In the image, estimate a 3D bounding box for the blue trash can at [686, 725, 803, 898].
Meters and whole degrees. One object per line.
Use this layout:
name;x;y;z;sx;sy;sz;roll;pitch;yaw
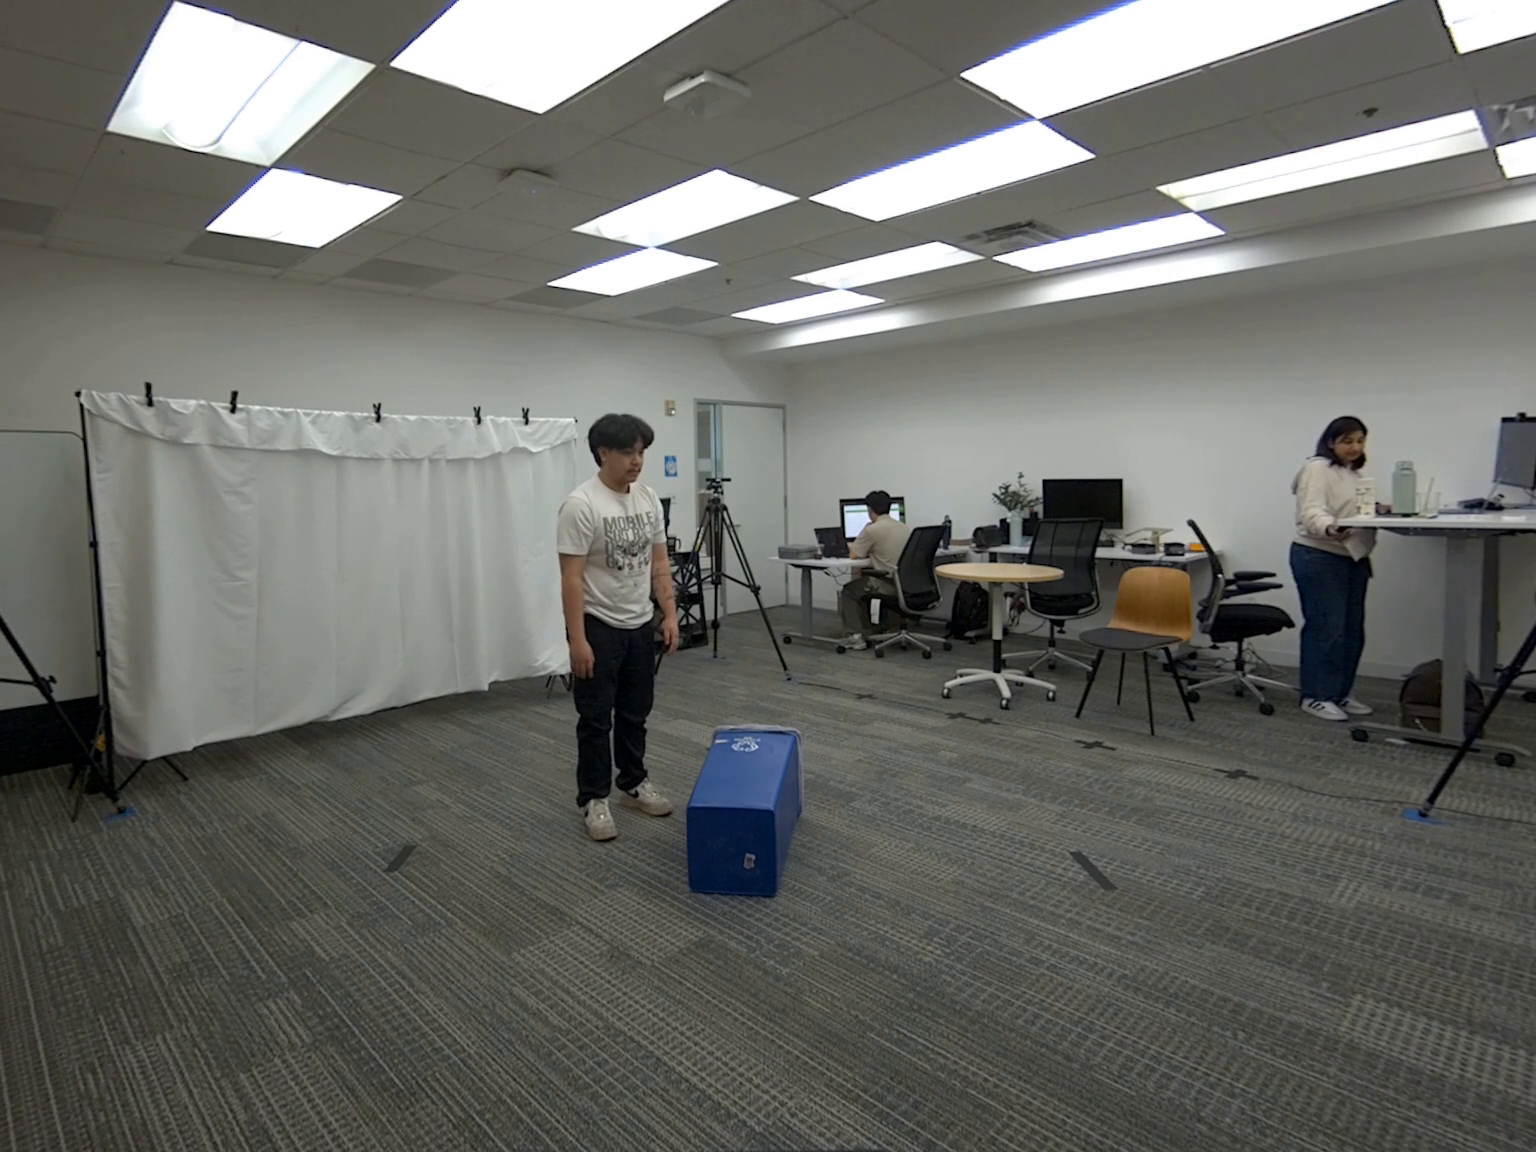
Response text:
blue trash can;-0.075;0.866;3.196;0.377;0.375;0.713;0;9;6
